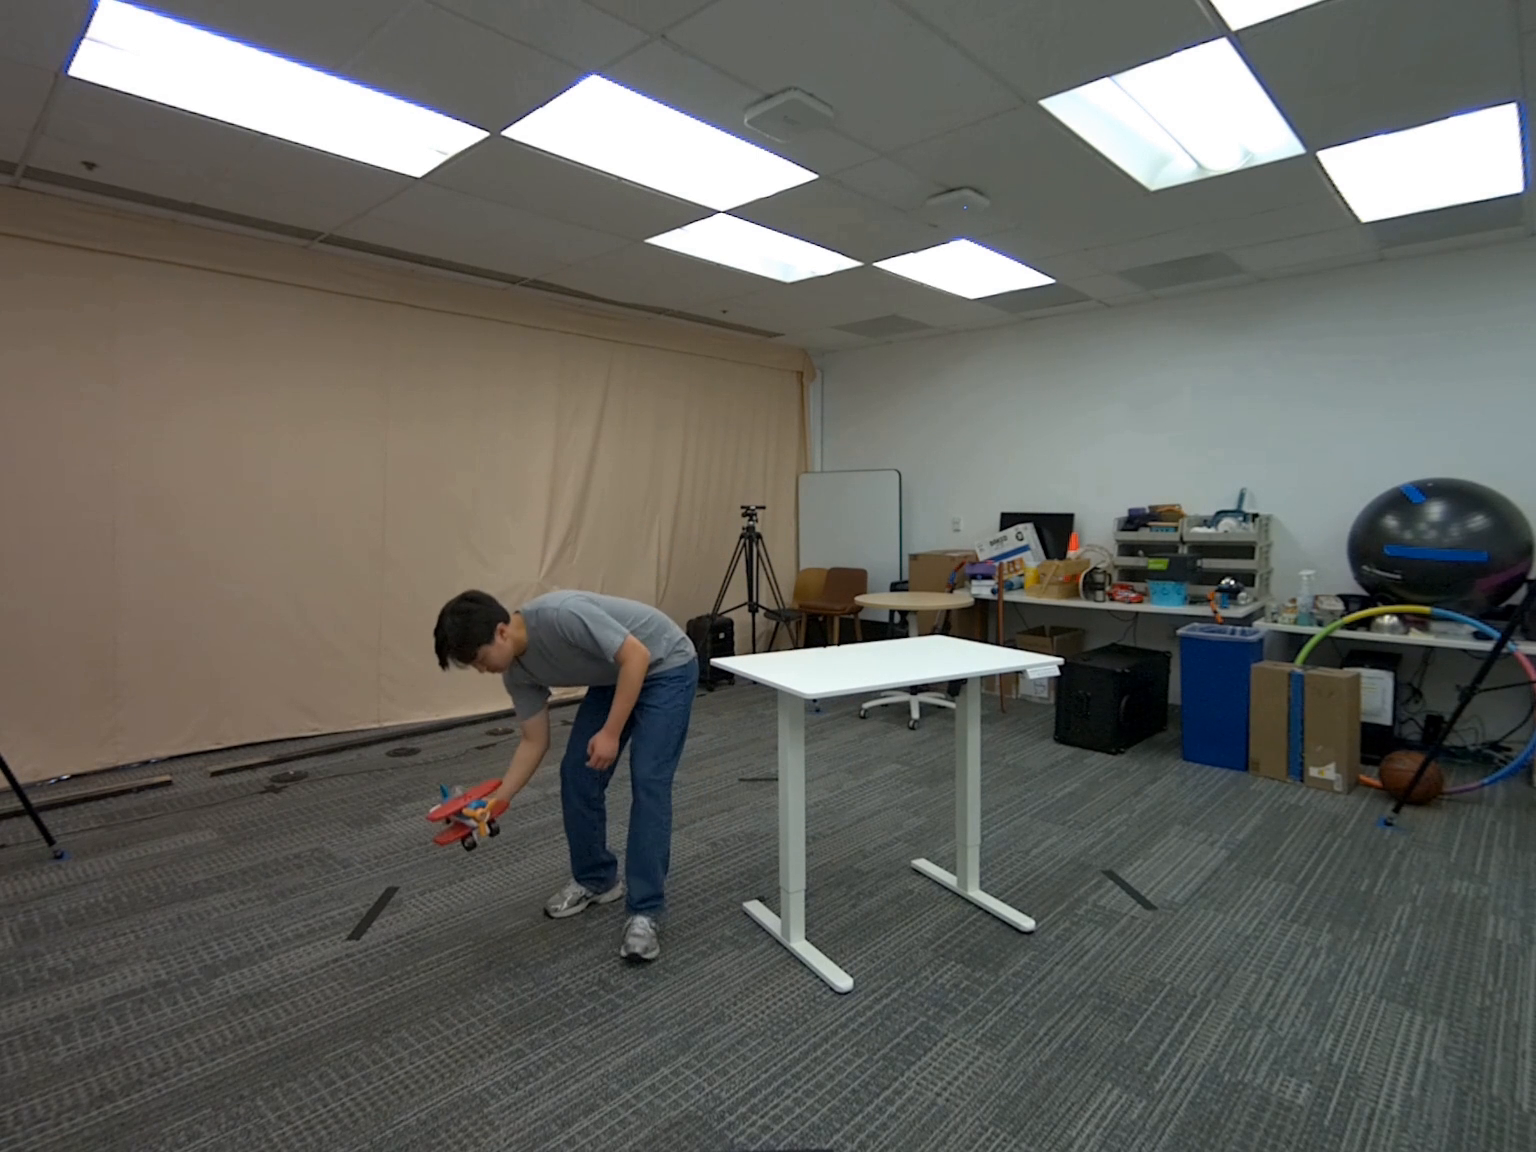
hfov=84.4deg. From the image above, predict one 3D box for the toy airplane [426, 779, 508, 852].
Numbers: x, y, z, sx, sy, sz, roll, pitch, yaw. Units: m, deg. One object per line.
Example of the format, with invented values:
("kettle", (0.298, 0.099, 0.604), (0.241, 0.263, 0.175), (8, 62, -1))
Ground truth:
("toy airplane", (-0.978, 0.761, 2.679), (0.263, 0.154, 0.251), (2, 22, 13))
